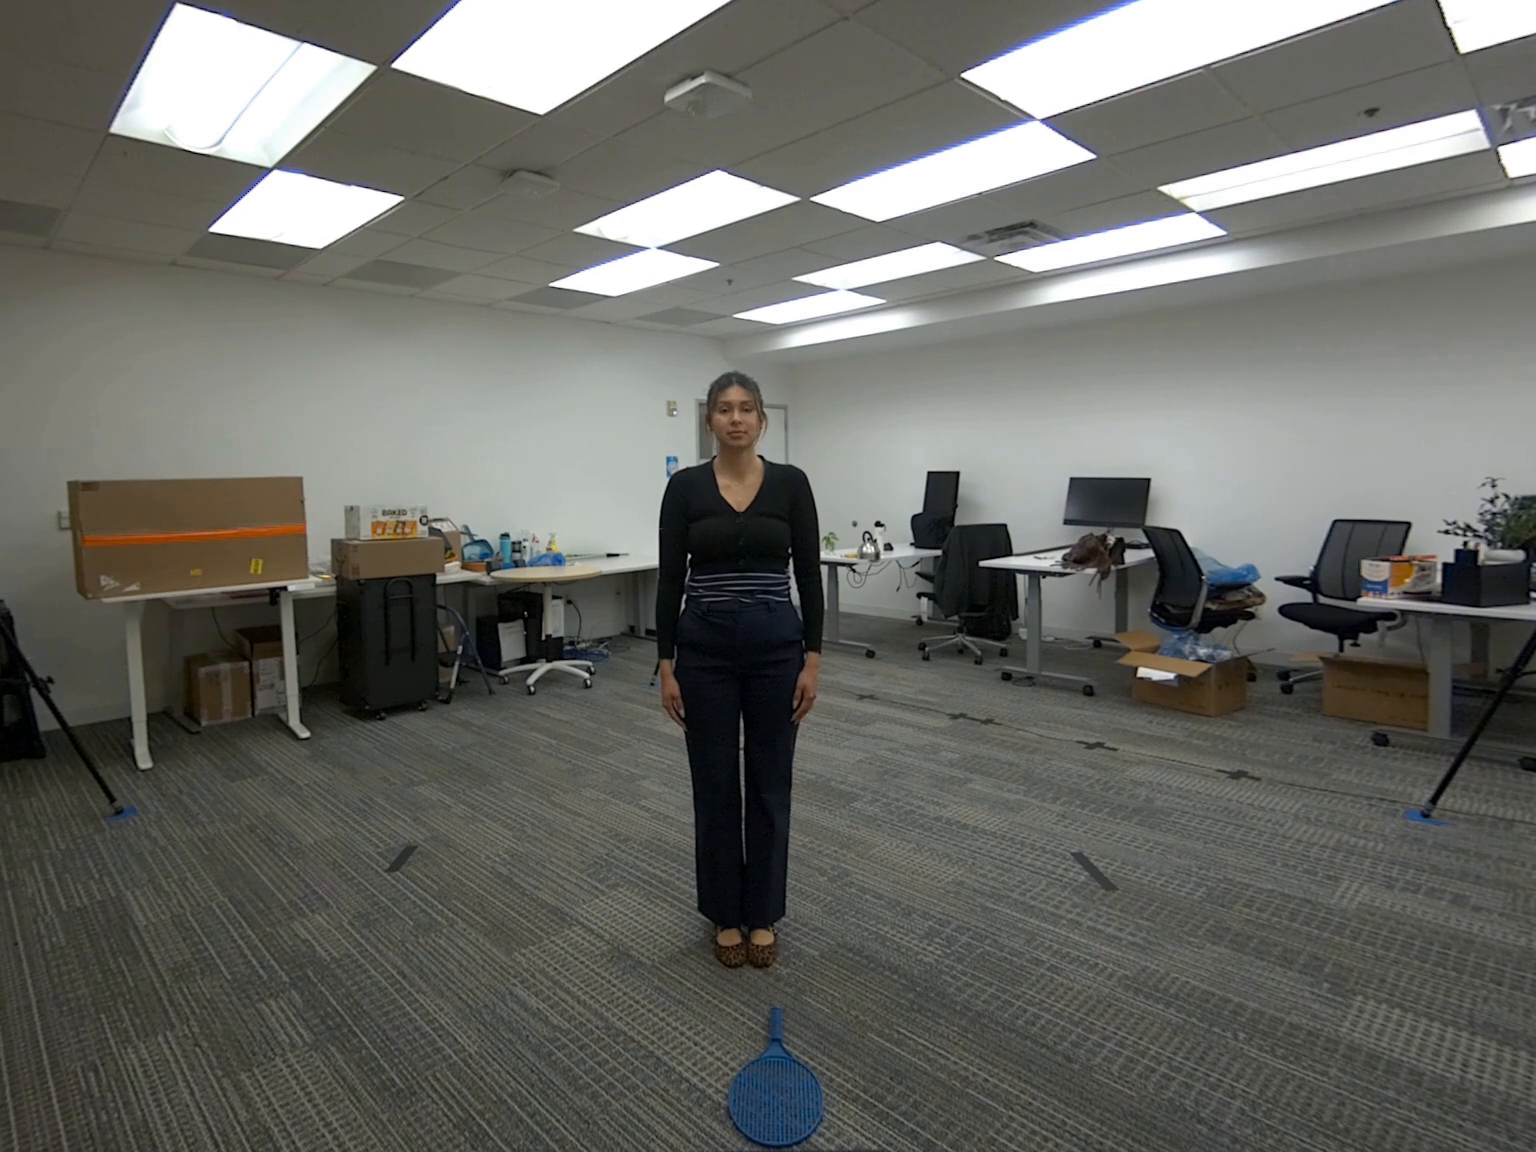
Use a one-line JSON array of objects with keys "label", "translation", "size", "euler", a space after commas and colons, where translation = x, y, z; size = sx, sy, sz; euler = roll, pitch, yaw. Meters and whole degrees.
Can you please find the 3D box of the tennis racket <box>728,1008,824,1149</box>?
[{"label": "tennis racket", "translation": [0.023, 1.172, 1.997], "size": [0.214, 0.031, 0.435], "euler": [-2, 8, 0]}]
